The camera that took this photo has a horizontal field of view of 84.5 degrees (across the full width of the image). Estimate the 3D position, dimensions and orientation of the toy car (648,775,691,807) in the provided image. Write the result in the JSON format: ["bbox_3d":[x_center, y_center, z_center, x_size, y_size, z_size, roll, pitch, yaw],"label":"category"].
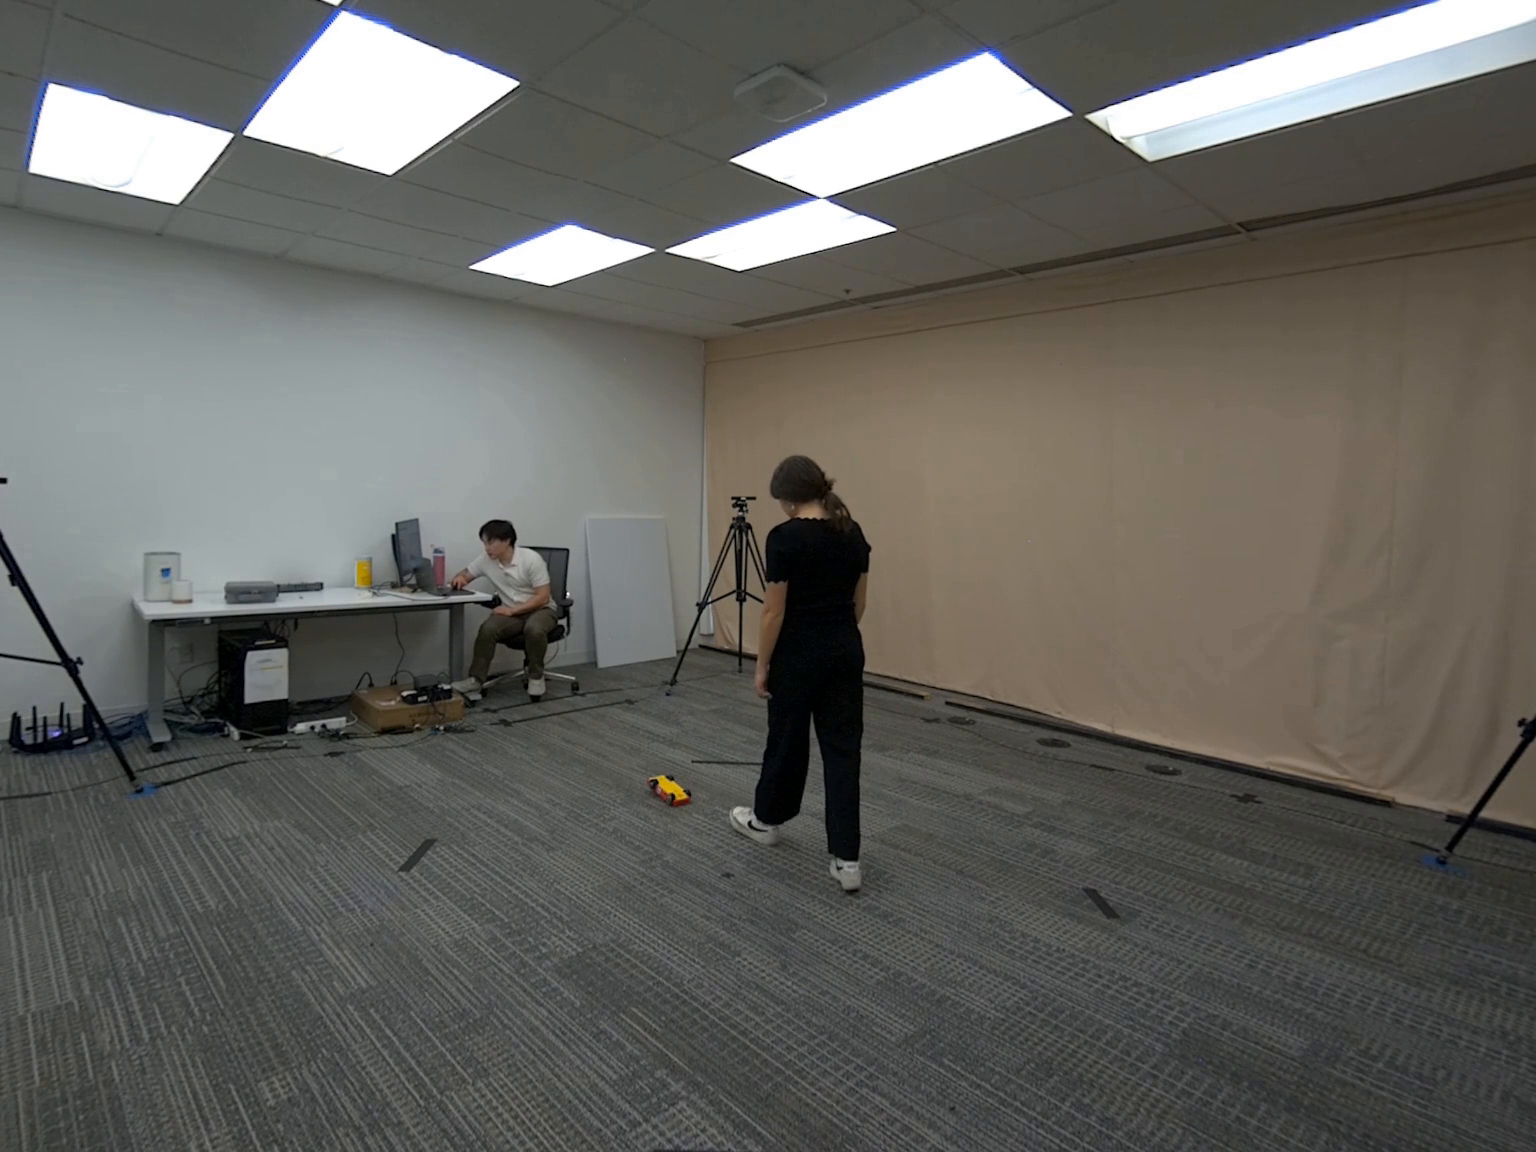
[{"bbox_3d":[-0.479,0.988,3.905,0.127,0.083,0.261,-3,6,-39],"label":"toy car"}]
